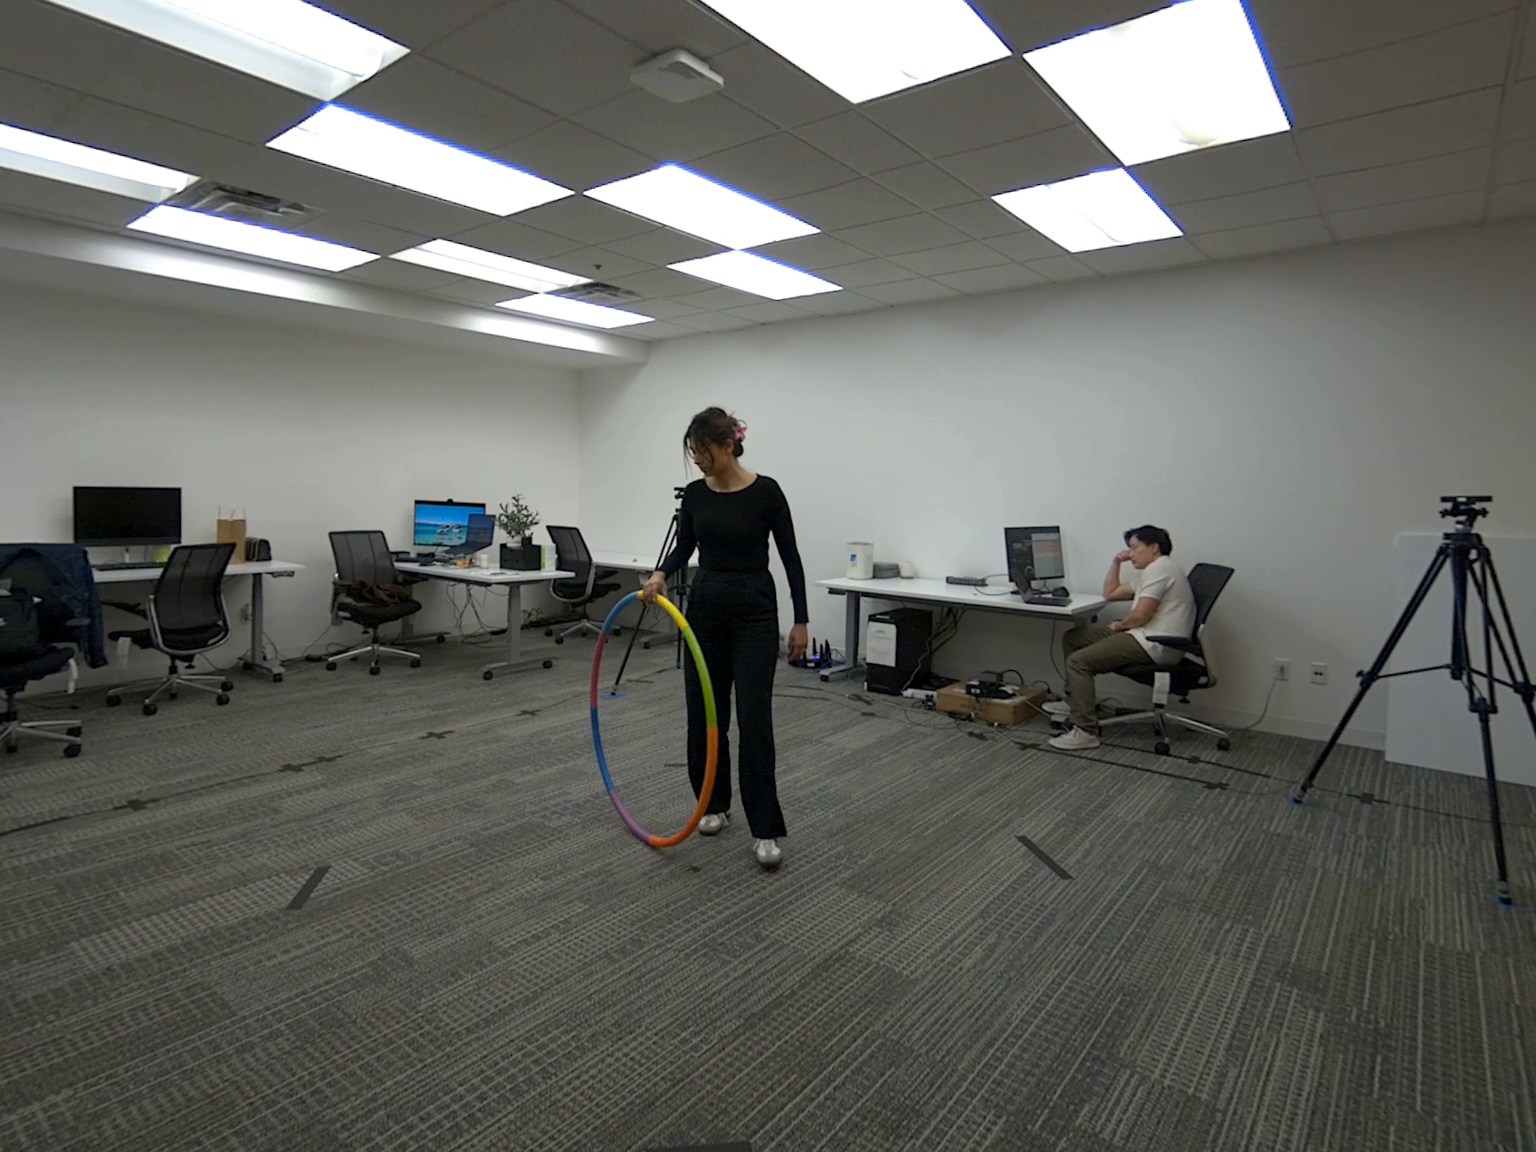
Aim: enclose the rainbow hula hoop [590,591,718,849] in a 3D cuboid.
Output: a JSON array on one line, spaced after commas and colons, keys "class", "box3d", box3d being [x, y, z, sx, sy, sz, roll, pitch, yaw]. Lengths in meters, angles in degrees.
[{"class": "rainbow hula hoop", "box3d": [-0.484, 0.553, 3.349, 0.034, 0.976, 1.010, 1, 3, -35]}]
